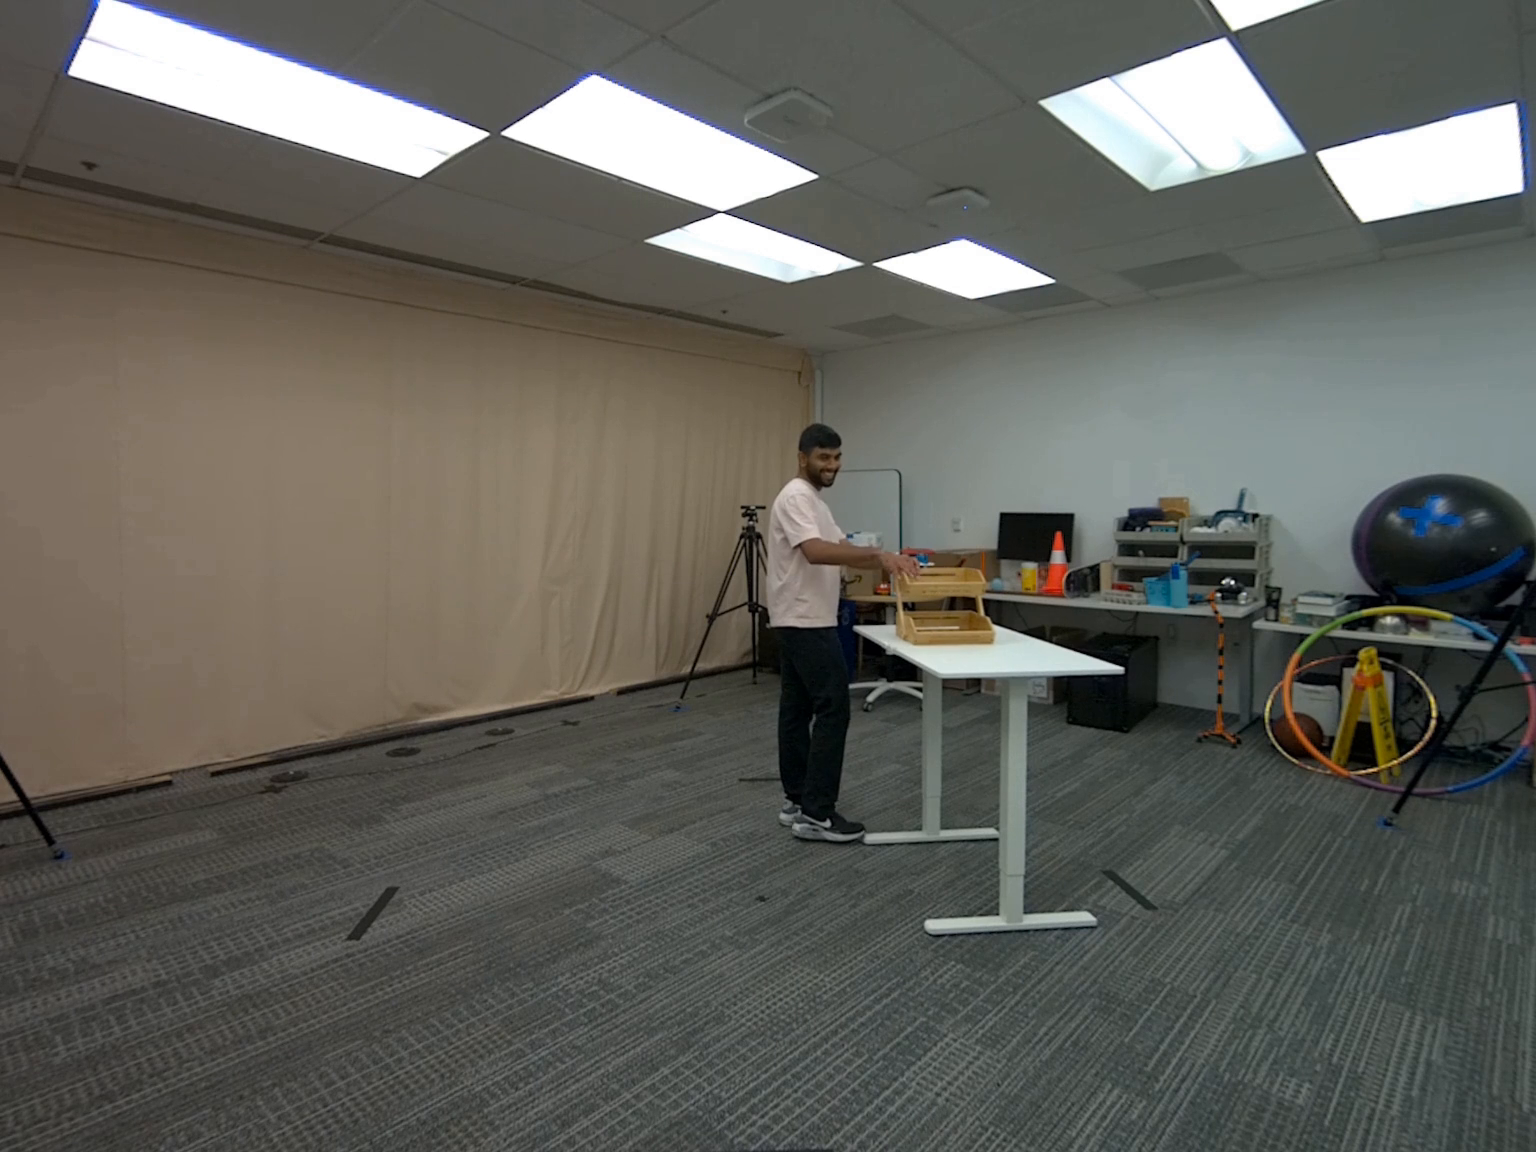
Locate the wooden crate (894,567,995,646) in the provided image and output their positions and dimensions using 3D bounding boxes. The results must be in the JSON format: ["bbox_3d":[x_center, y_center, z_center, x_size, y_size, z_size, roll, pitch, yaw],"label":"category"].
[{"bbox_3d":[0.676,0.110,3.206,0.322,0.273,0.304,0,1,-6],"label":"wooden crate"}]
